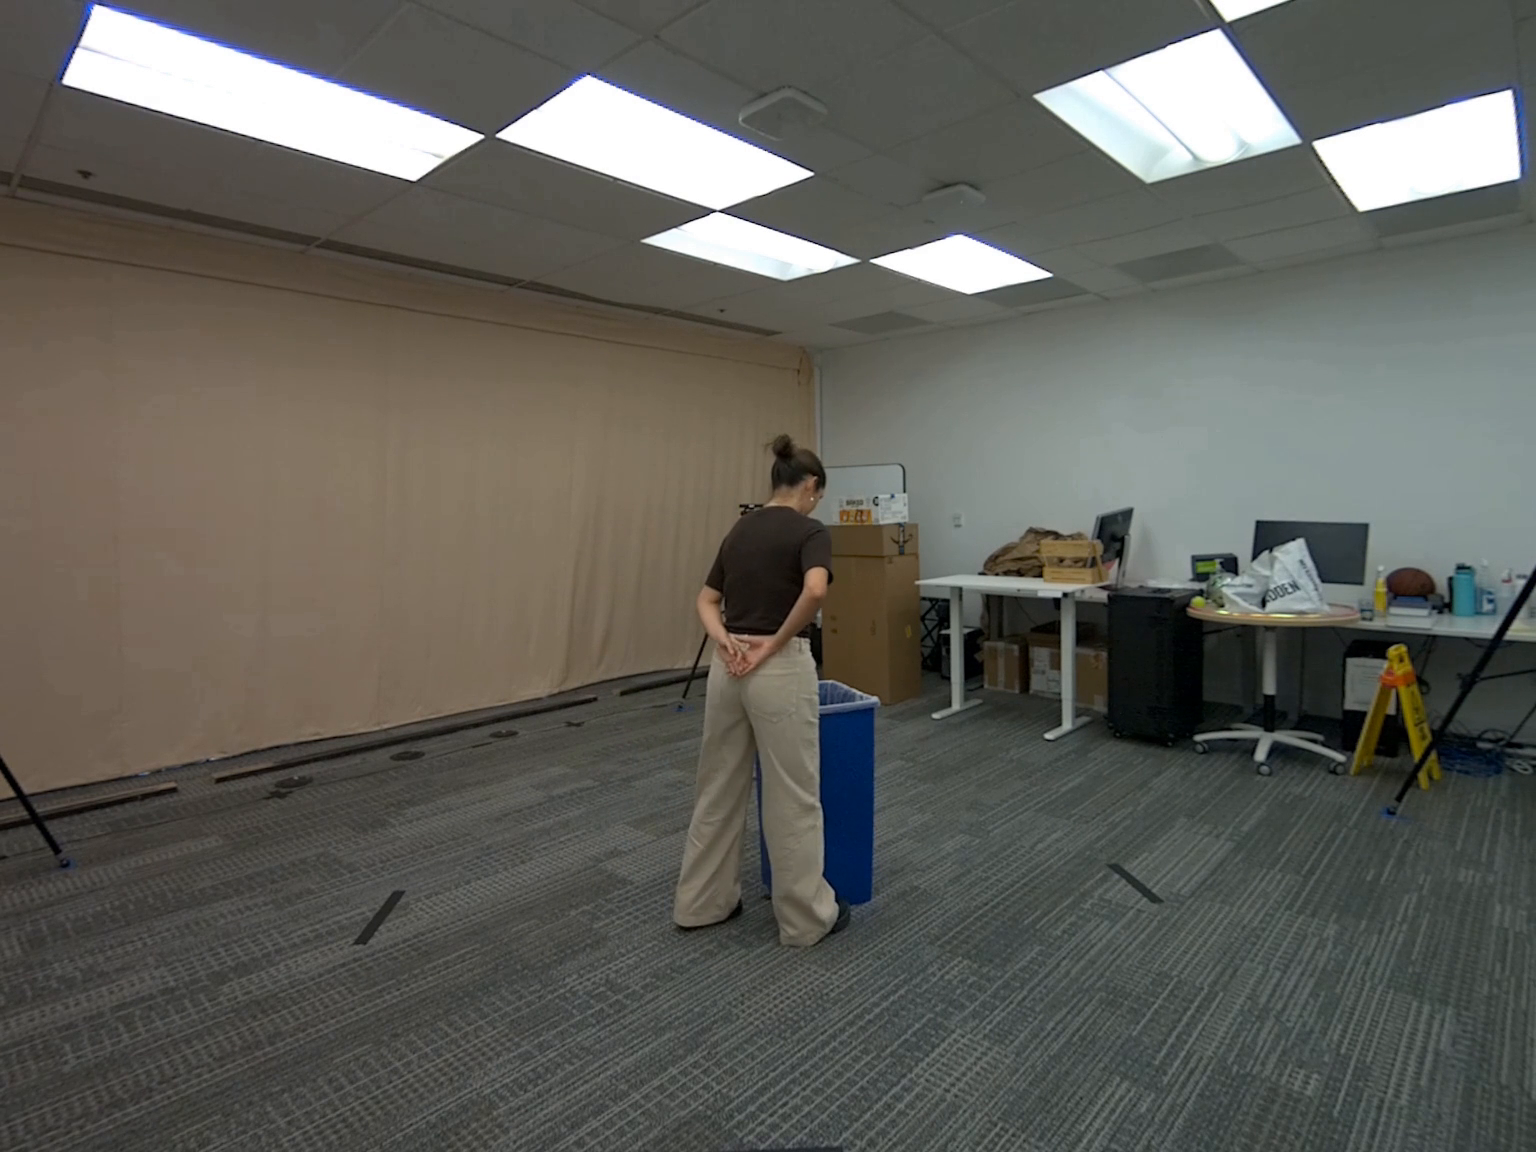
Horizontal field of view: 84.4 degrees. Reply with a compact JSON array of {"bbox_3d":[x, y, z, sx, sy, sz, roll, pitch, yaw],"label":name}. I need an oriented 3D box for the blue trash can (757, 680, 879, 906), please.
[{"bbox_3d":[0.161,0.773,3.016,0.370,0.712,0.383,-3,4,-22],"label":"blue trash can"}]
